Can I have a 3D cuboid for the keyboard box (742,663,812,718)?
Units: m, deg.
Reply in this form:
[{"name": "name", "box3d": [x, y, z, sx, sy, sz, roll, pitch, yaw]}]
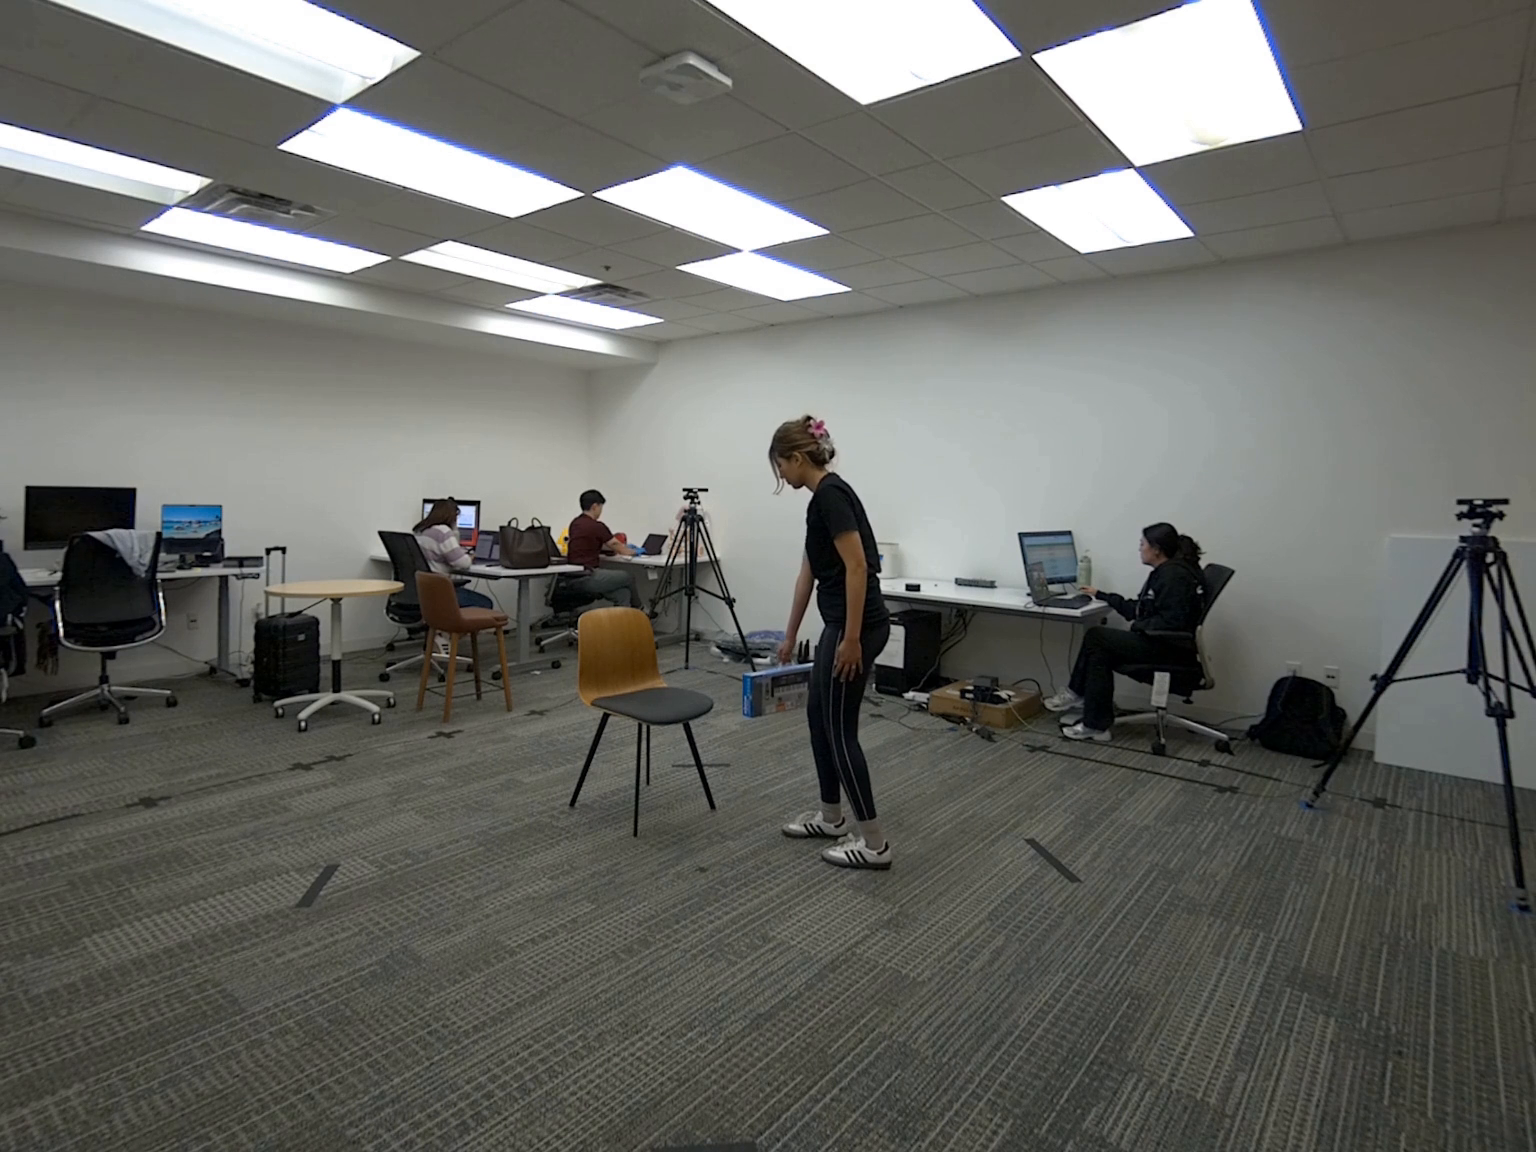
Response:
[{"name": "keyboard box", "box3d": [0.071, 0.474, 3.572, 0.424, 0.175, 0.061, -3, 6, -39]}]
